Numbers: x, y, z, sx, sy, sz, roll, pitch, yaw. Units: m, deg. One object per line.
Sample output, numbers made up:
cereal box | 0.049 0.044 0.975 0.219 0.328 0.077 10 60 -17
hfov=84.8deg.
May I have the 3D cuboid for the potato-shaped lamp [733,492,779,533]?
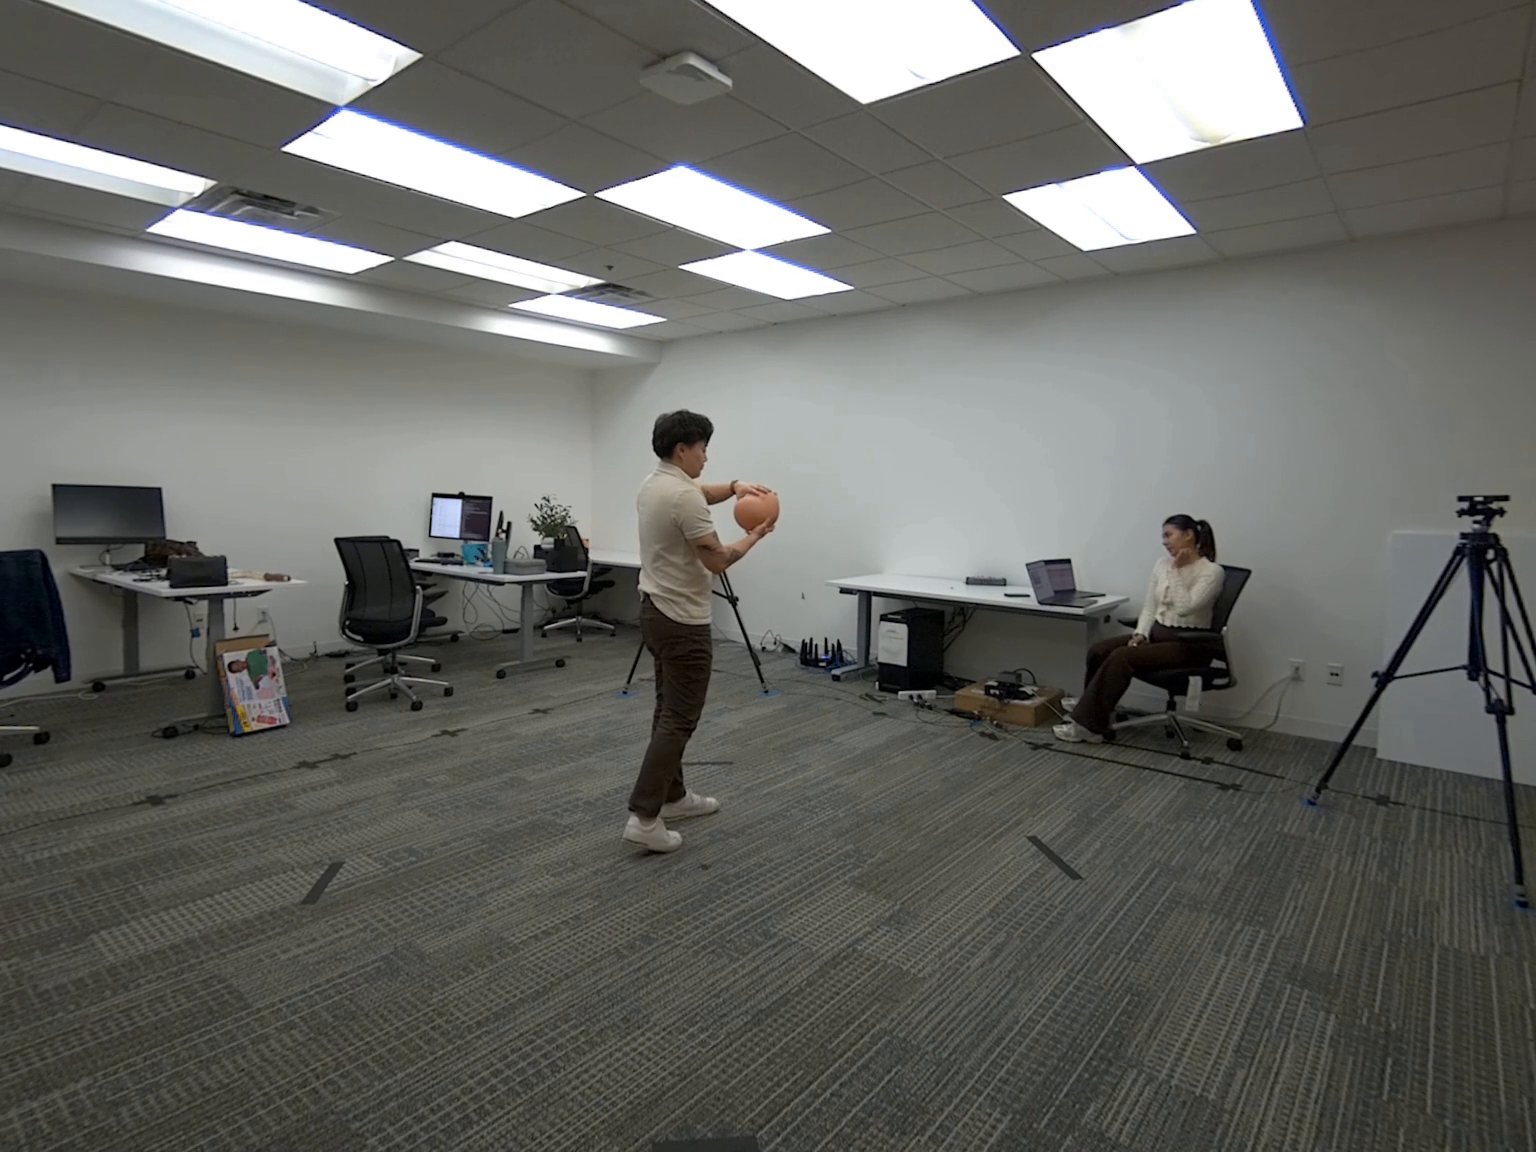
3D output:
potato-shaped lamp | -0.063 -0.278 3.539 0.192 0.171 0.170 -1 0 -41
